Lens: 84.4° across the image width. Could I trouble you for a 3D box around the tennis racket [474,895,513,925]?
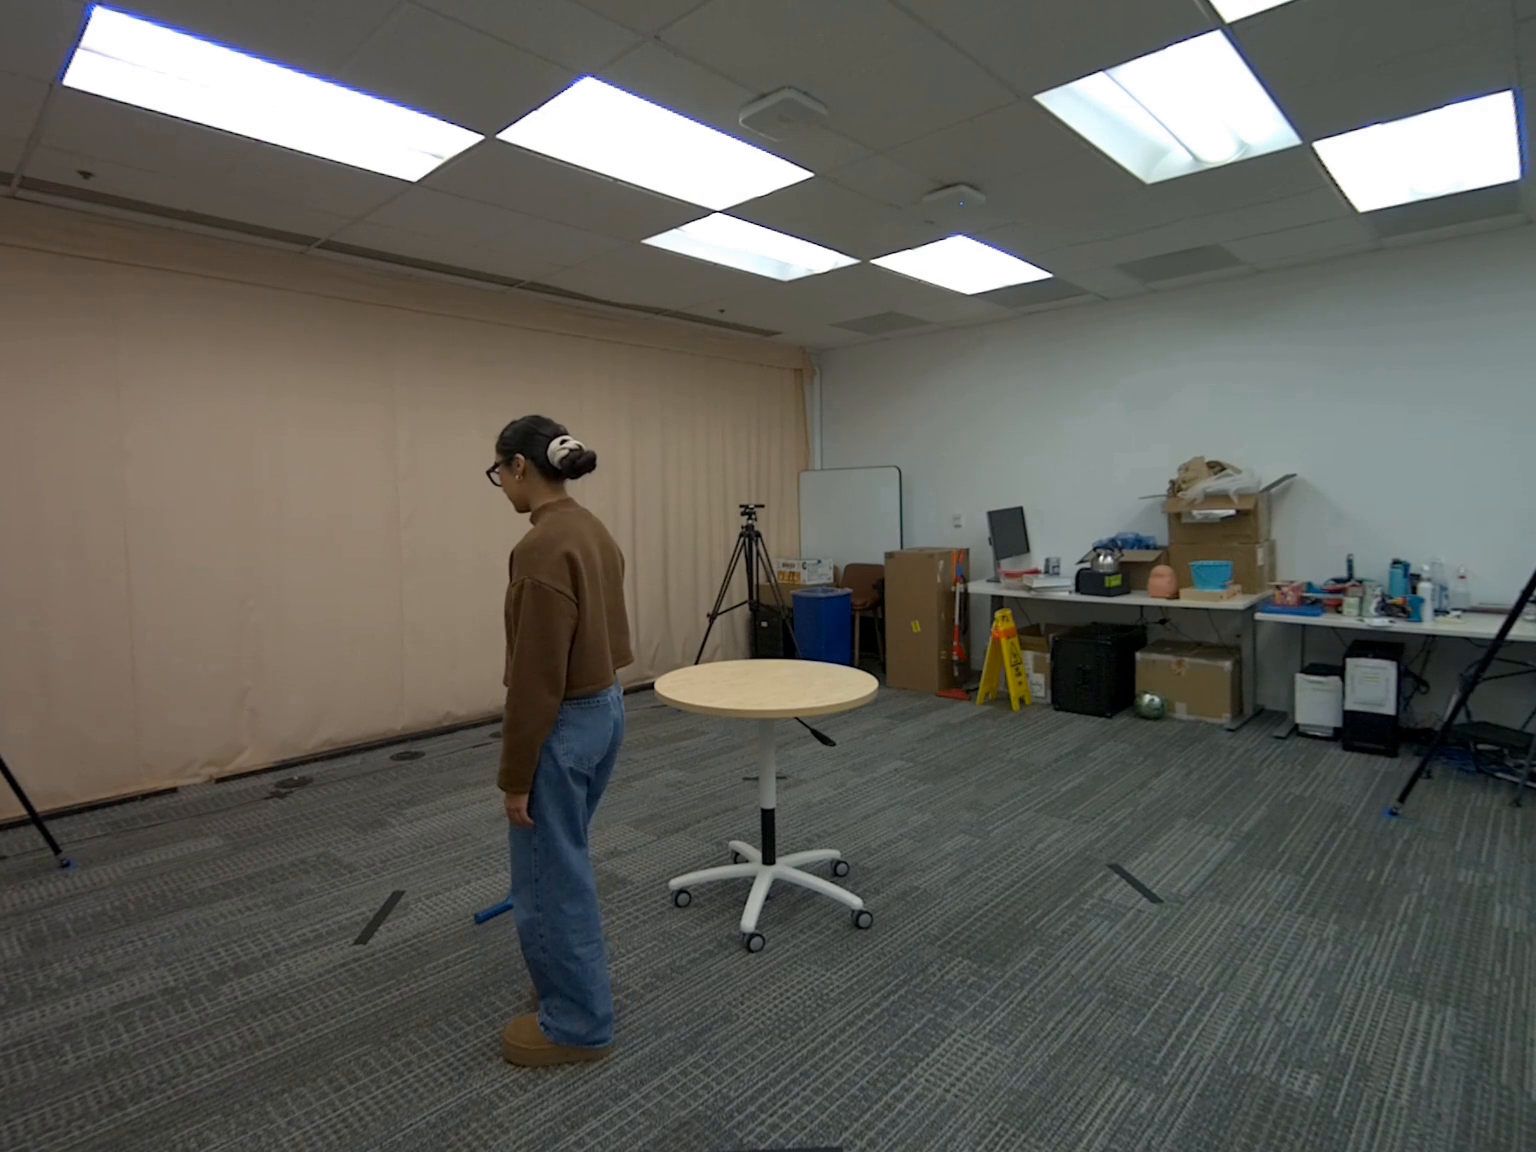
[{"bbox_3d":[-0.870,1.143,3.018,0.220,0.032,0.420,2,4,36],"label":"tennis racket"}]
